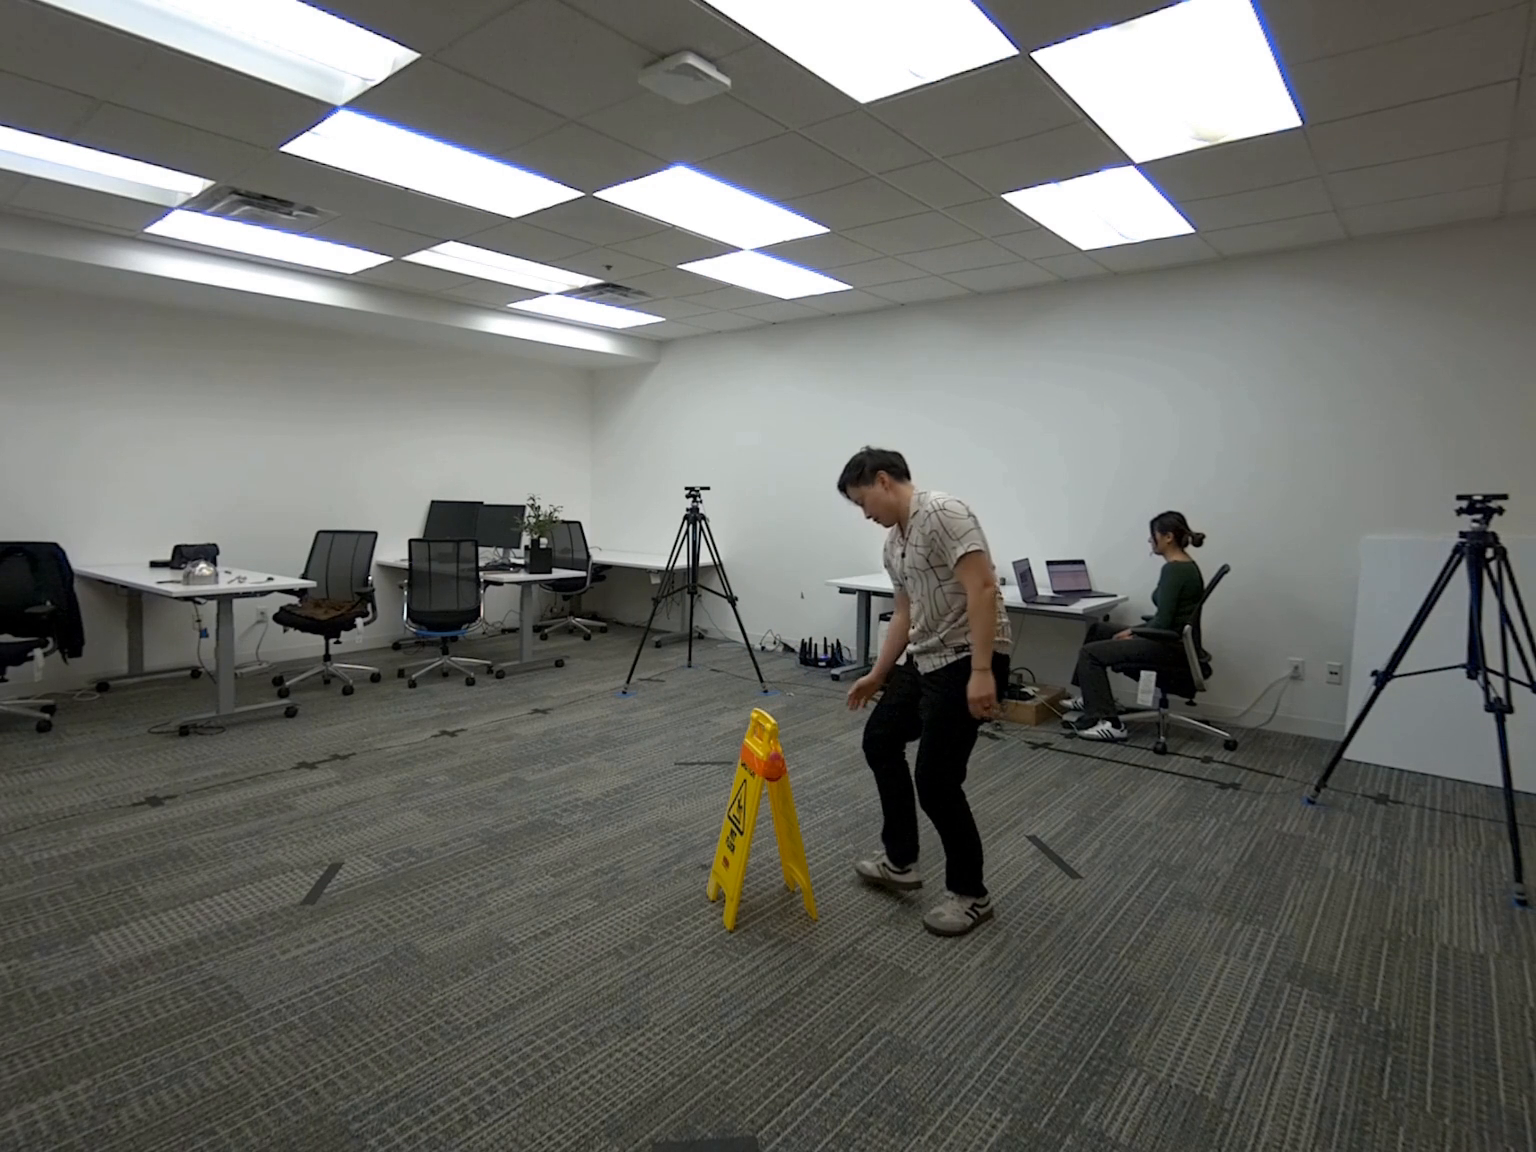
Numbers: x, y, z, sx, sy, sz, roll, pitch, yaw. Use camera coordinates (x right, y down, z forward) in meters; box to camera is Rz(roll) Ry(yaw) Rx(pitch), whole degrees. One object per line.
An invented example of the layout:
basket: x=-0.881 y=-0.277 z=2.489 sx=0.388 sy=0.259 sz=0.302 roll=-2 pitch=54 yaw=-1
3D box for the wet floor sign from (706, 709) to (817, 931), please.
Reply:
wet floor sign: x=-0.028 y=0.771 z=2.821 sx=0.284 sy=0.644 sz=0.288 roll=0 pitch=4 yaw=-18
